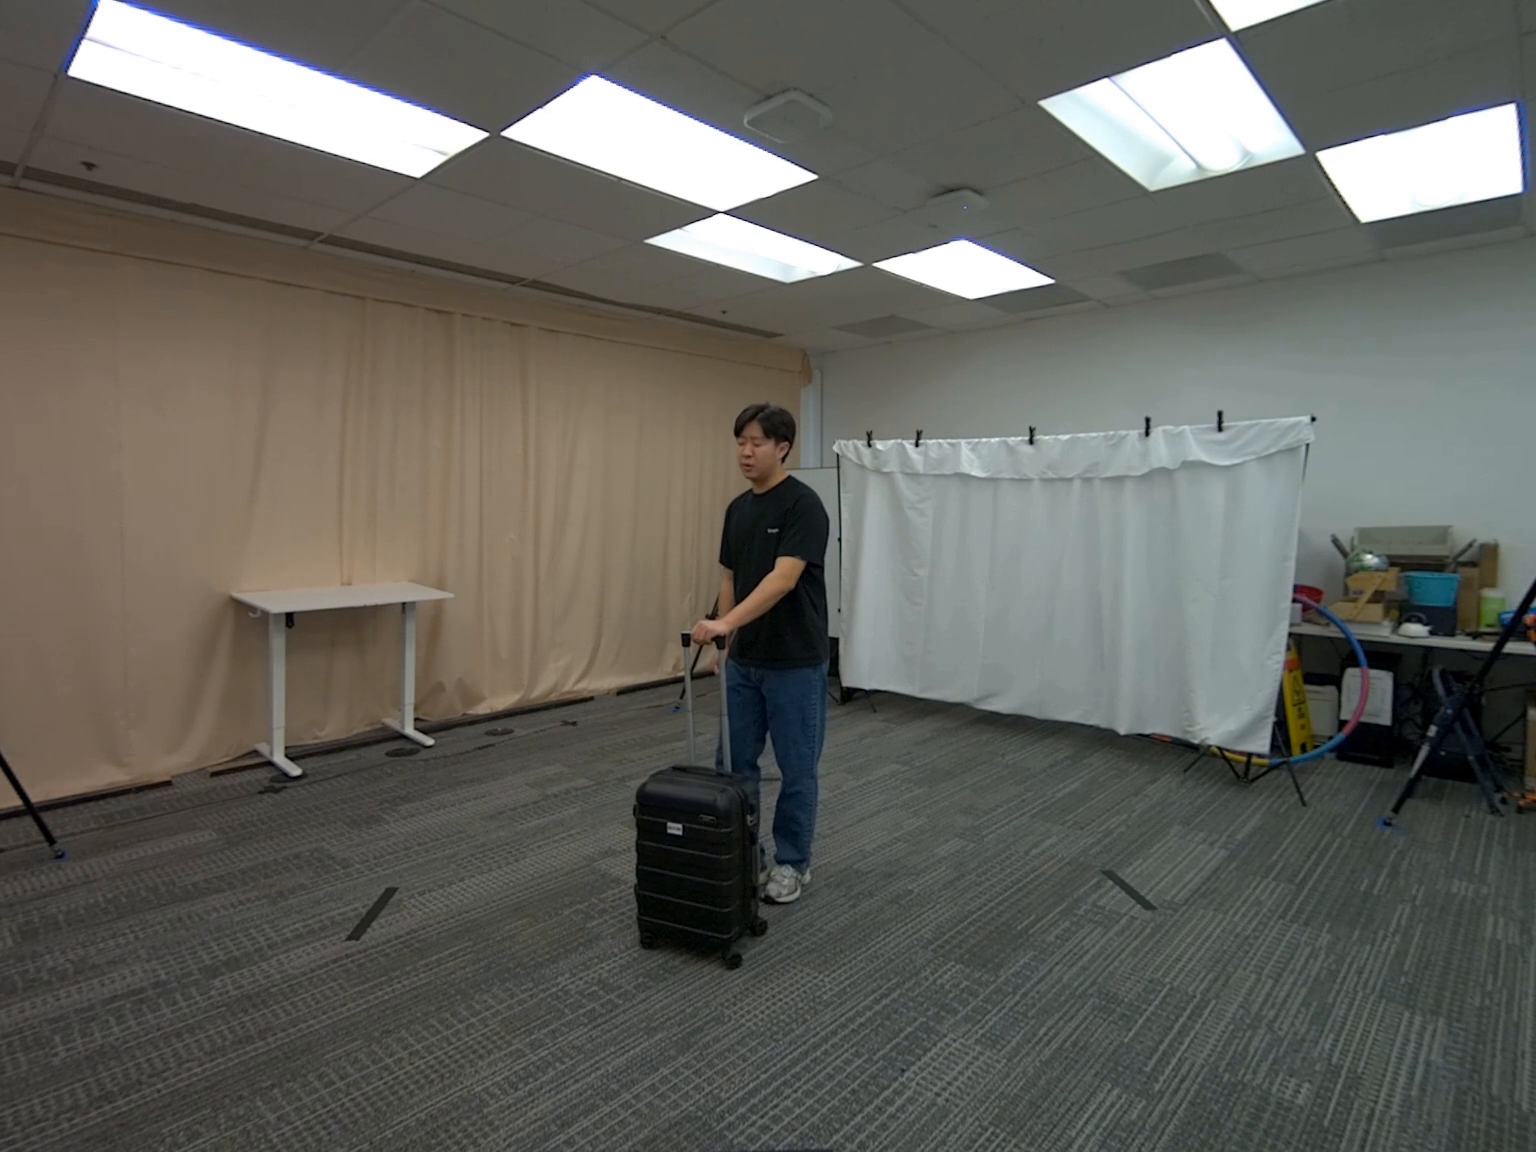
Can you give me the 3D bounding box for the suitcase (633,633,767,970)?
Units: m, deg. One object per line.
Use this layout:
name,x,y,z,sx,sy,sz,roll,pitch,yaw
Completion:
suitcase,-0.231,0.694,2.665,0.393,0.975,0.252,0,6,23
